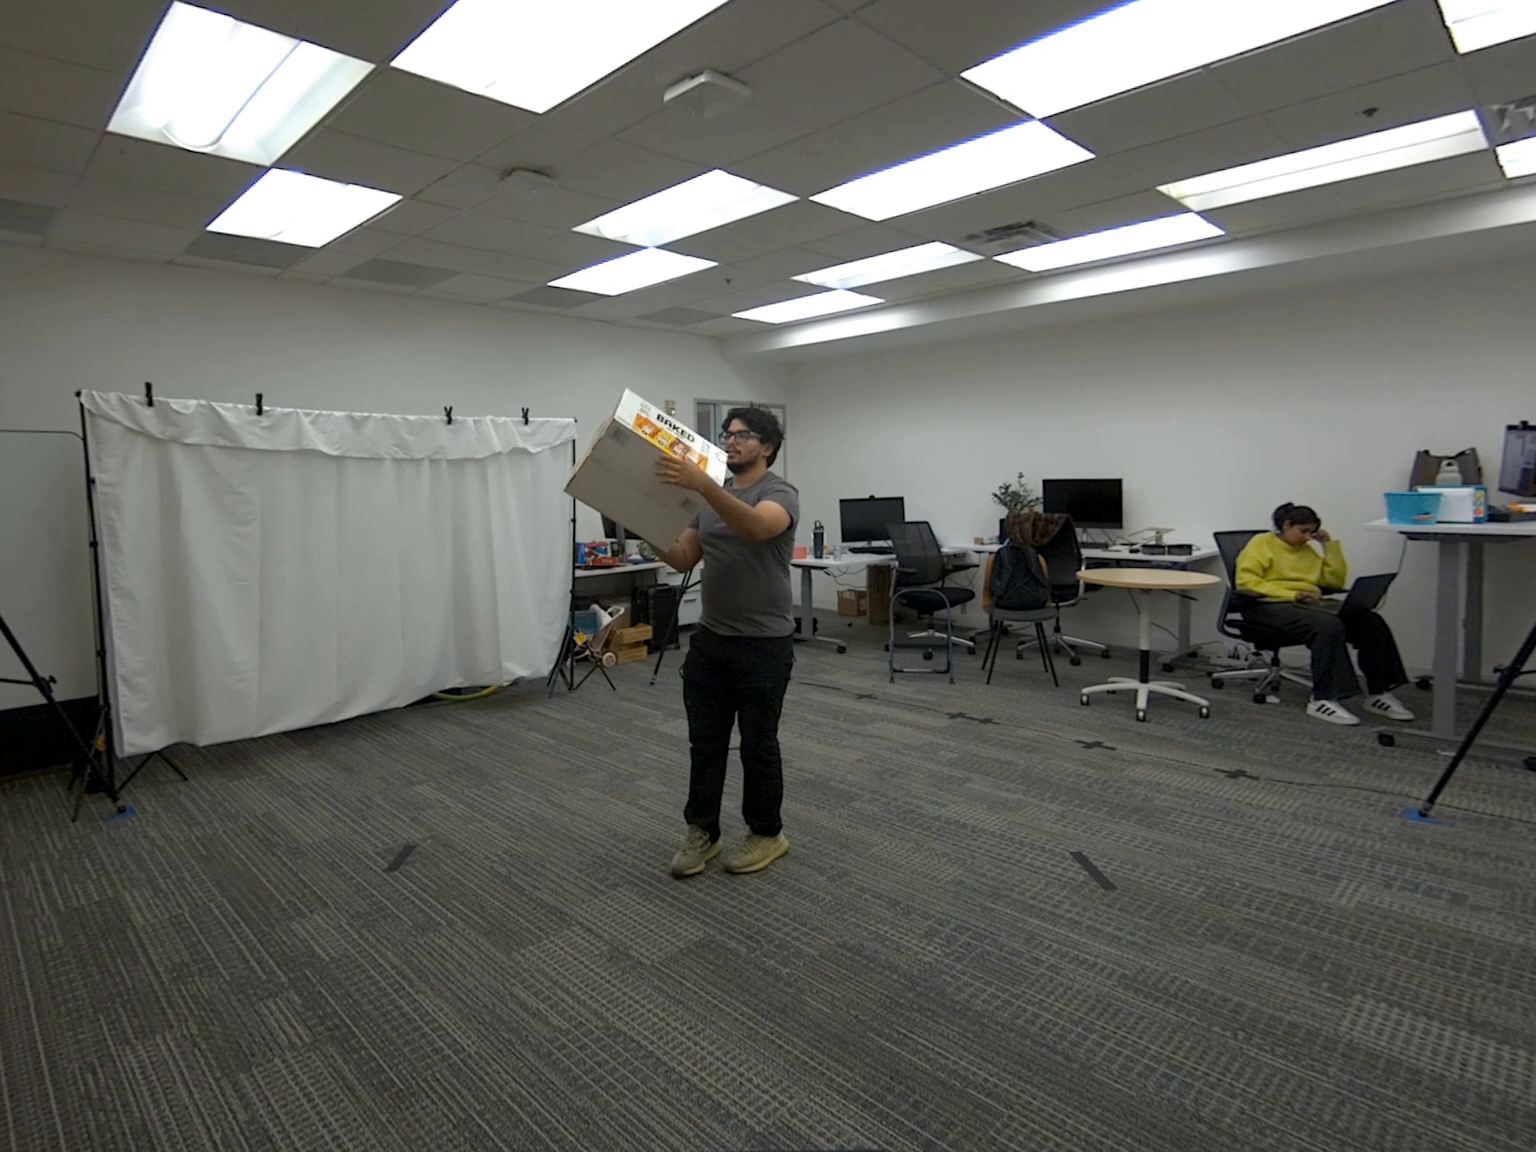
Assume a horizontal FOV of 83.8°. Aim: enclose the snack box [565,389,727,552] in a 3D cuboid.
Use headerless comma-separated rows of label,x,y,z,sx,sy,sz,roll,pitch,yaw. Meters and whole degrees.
snack box,-0.395,-0.339,2.811,0.397,0.340,0.210,32,34,-17
